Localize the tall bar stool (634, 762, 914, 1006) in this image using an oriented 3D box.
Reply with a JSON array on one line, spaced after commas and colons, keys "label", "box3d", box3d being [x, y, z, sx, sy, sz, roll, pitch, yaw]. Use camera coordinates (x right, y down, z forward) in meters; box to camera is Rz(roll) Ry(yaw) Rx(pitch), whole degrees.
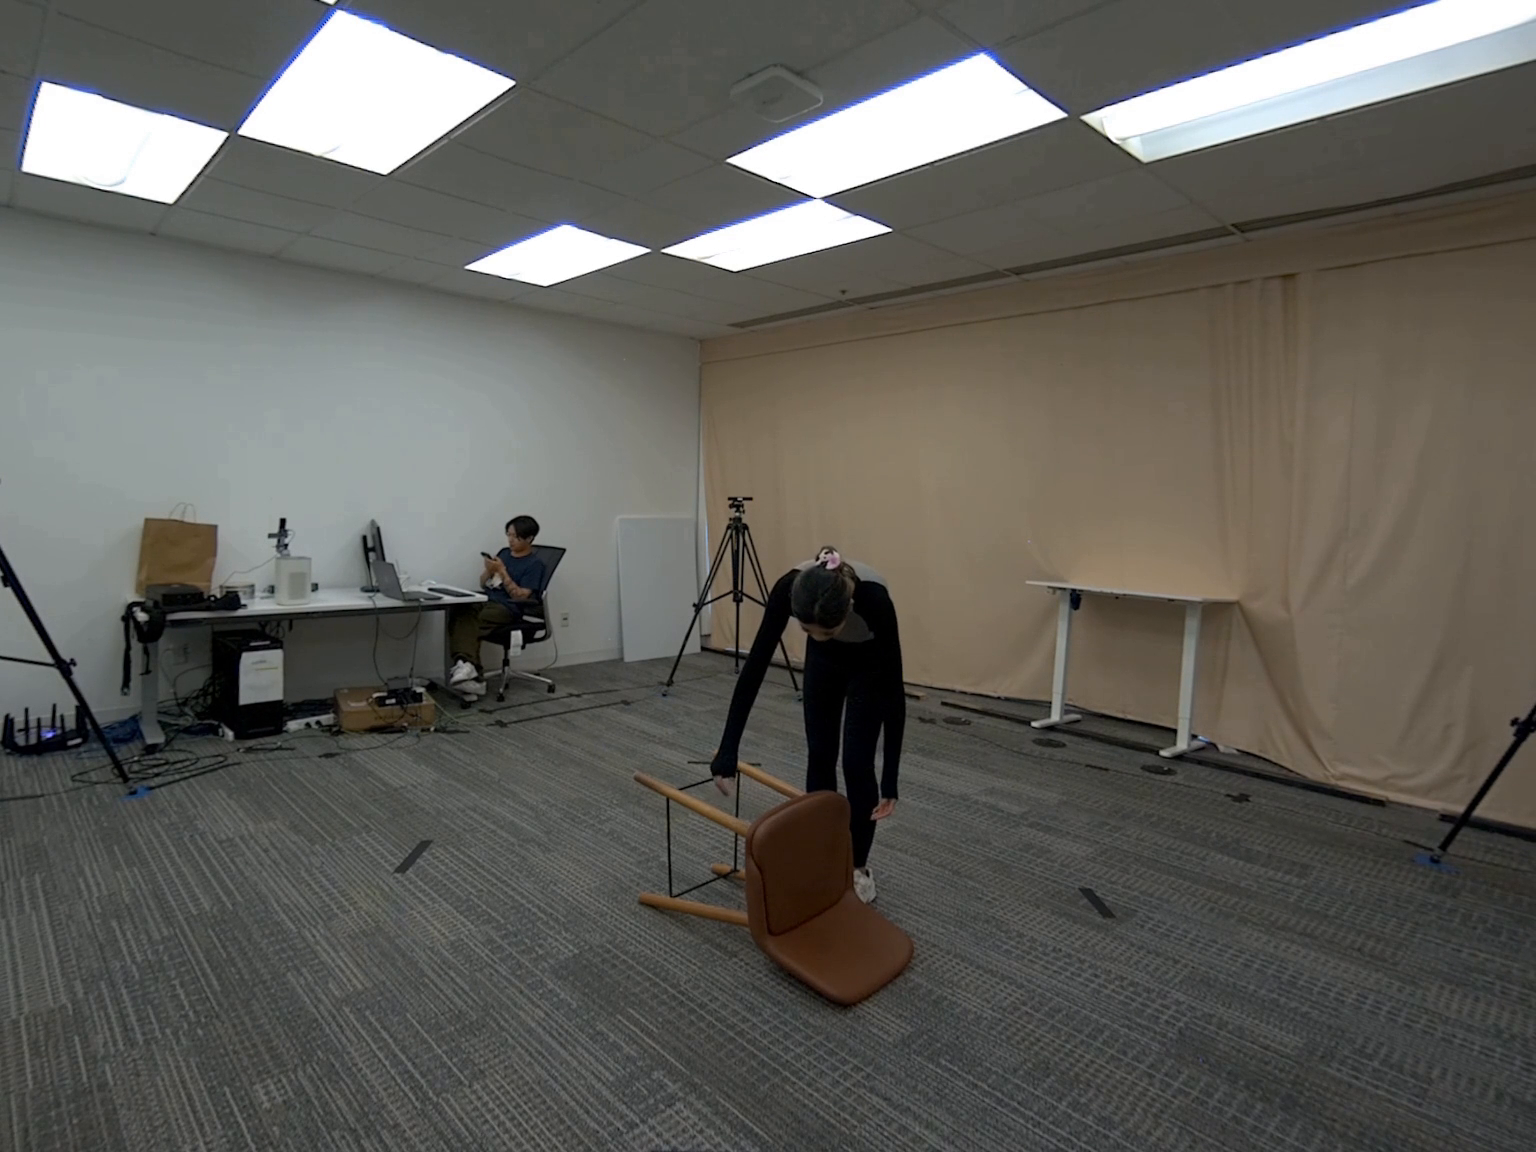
[{"label": "tall bar stool", "box3d": [-0.006, 0.919, 2.701, 0.913, 0.466, 0.446, 6, 6, 43]}]
